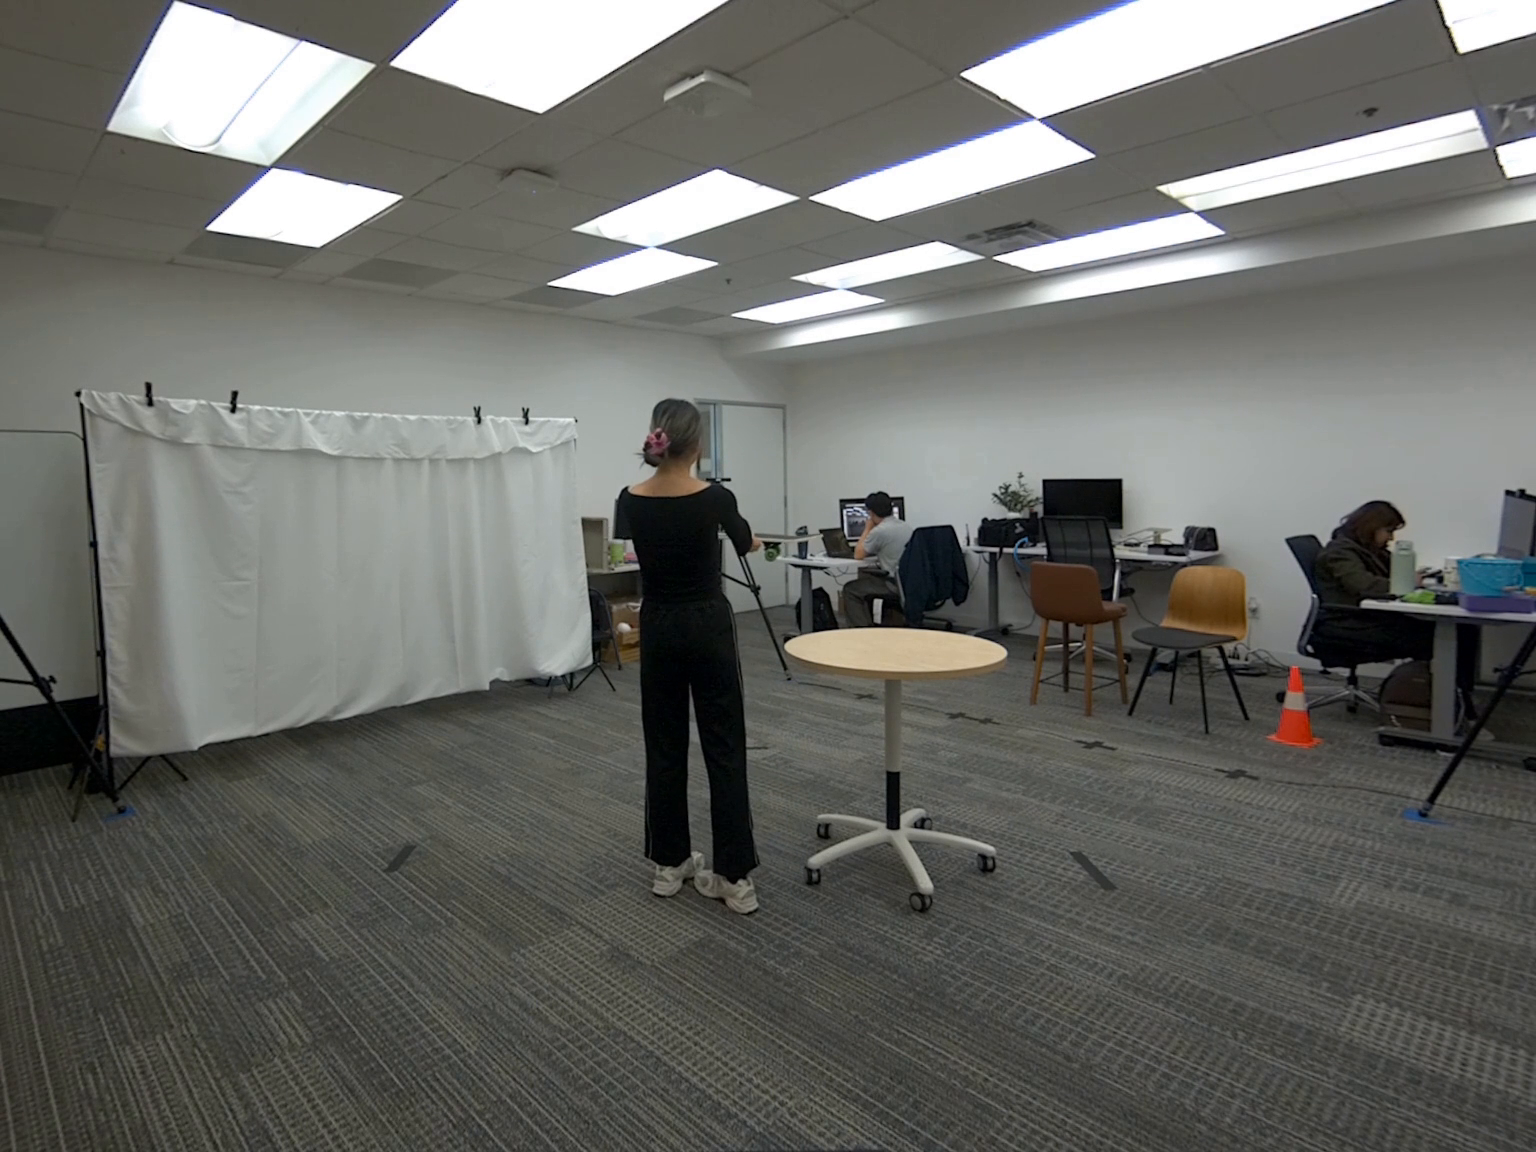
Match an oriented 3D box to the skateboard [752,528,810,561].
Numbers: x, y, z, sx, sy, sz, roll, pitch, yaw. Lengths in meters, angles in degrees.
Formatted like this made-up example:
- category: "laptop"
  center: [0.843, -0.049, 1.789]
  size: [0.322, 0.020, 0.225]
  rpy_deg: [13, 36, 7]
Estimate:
- category: "skateboard"
  center: [-0.147, -0.128, 3.471]
  size: [0.793, 0.110, 0.193]
  rpy_deg: [3, 8, 9]
